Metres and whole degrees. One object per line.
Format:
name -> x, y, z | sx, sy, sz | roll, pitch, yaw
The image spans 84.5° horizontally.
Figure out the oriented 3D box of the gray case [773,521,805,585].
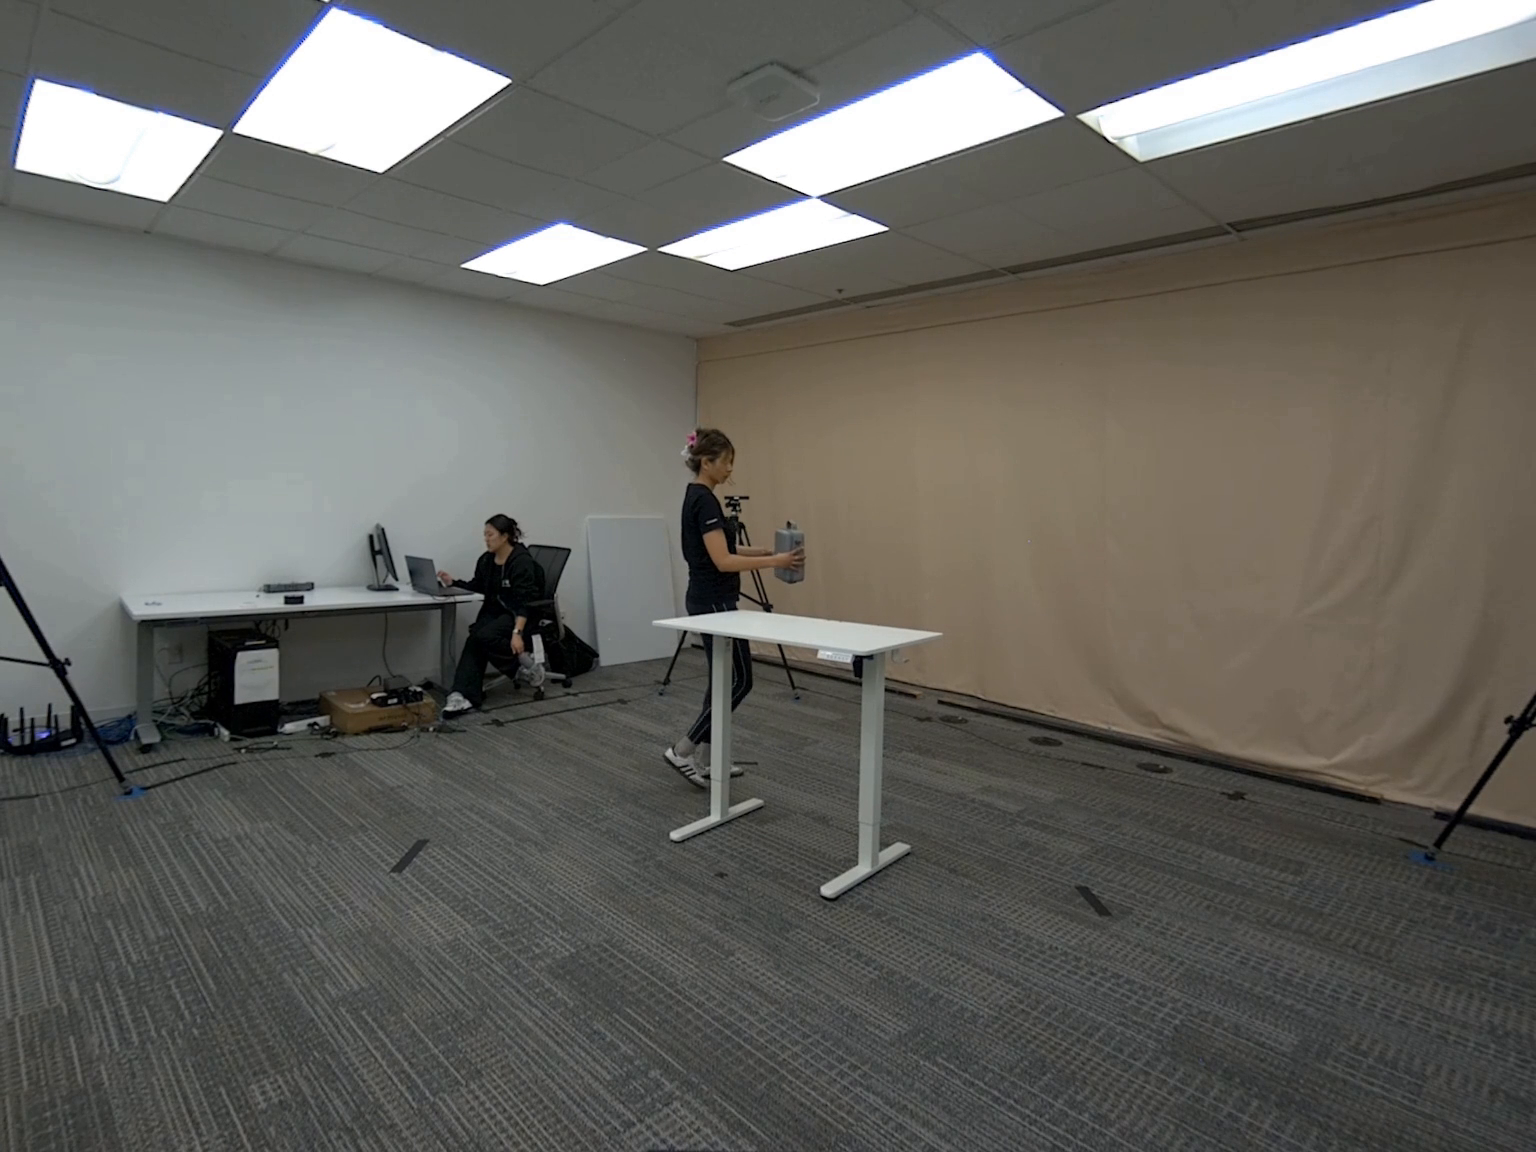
gray case -> 0.089, -0.112, 4.145 | 0.103, 0.259, 0.260 | 1, 7, -11
